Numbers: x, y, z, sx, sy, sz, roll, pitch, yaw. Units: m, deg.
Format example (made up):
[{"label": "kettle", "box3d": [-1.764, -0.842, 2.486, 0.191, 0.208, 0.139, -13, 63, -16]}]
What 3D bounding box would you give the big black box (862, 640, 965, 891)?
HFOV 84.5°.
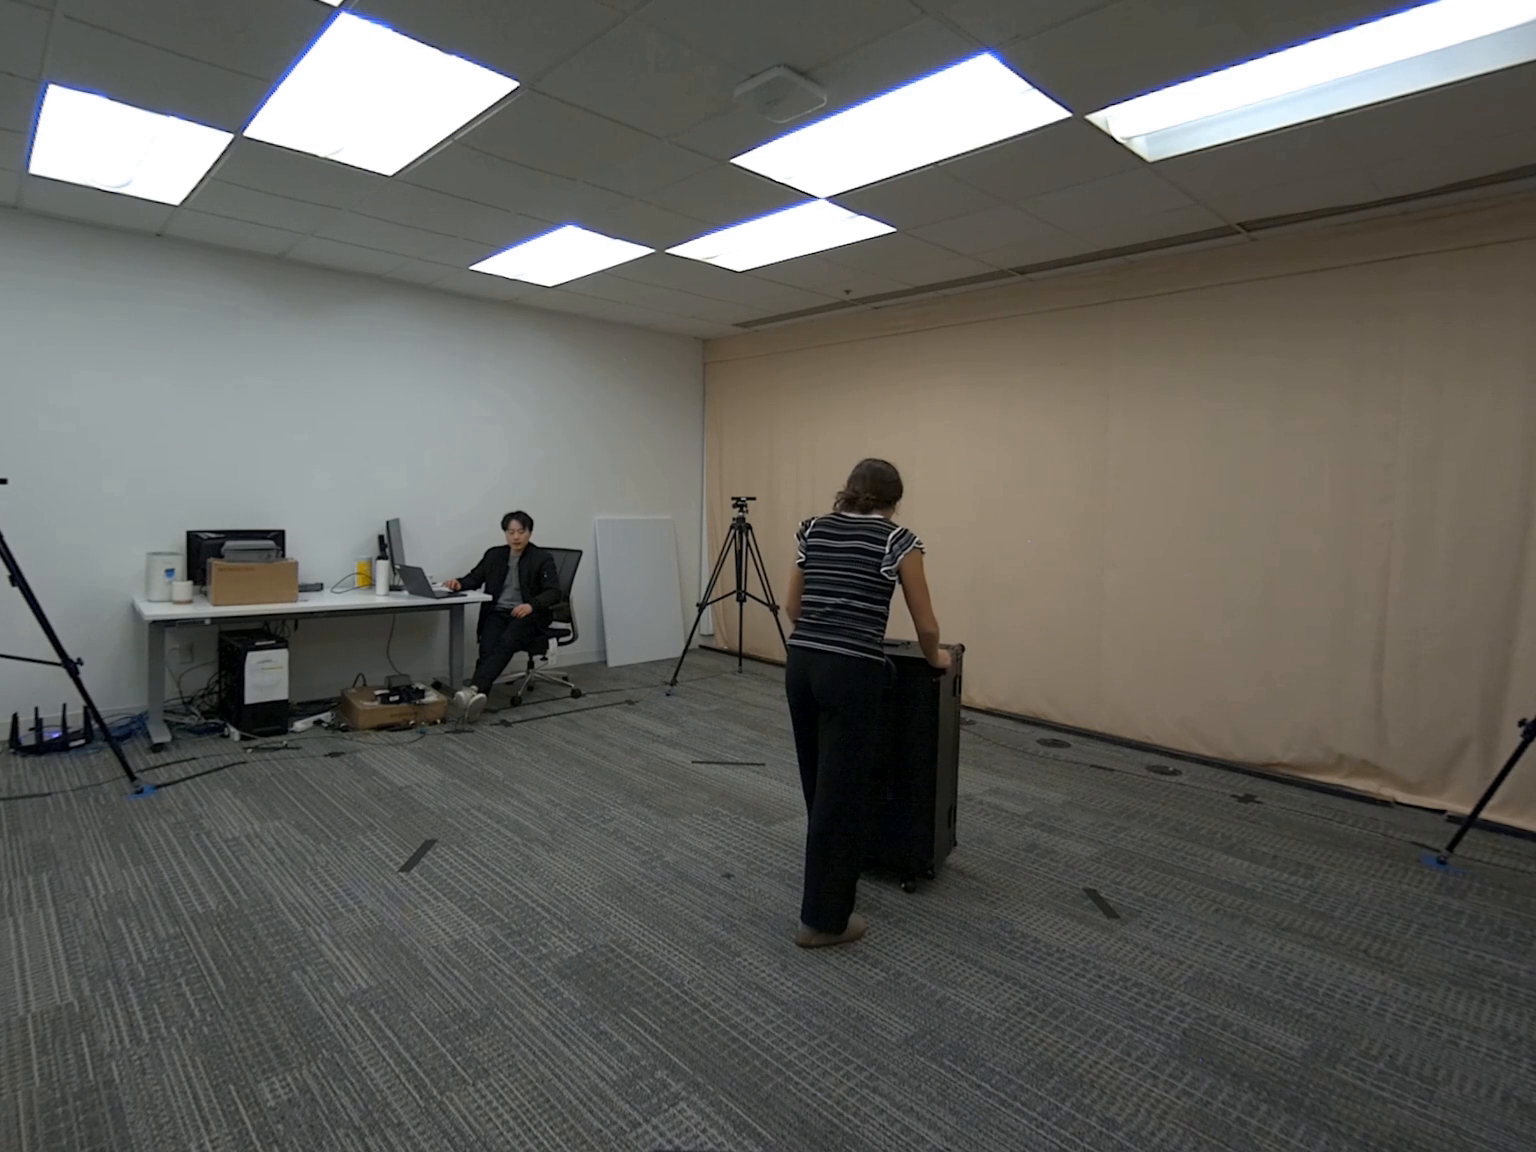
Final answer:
[{"label": "big black box", "box3d": [0.447, 0.689, 3.186, 0.532, 0.859, 0.389, 3, 5, 27]}]
